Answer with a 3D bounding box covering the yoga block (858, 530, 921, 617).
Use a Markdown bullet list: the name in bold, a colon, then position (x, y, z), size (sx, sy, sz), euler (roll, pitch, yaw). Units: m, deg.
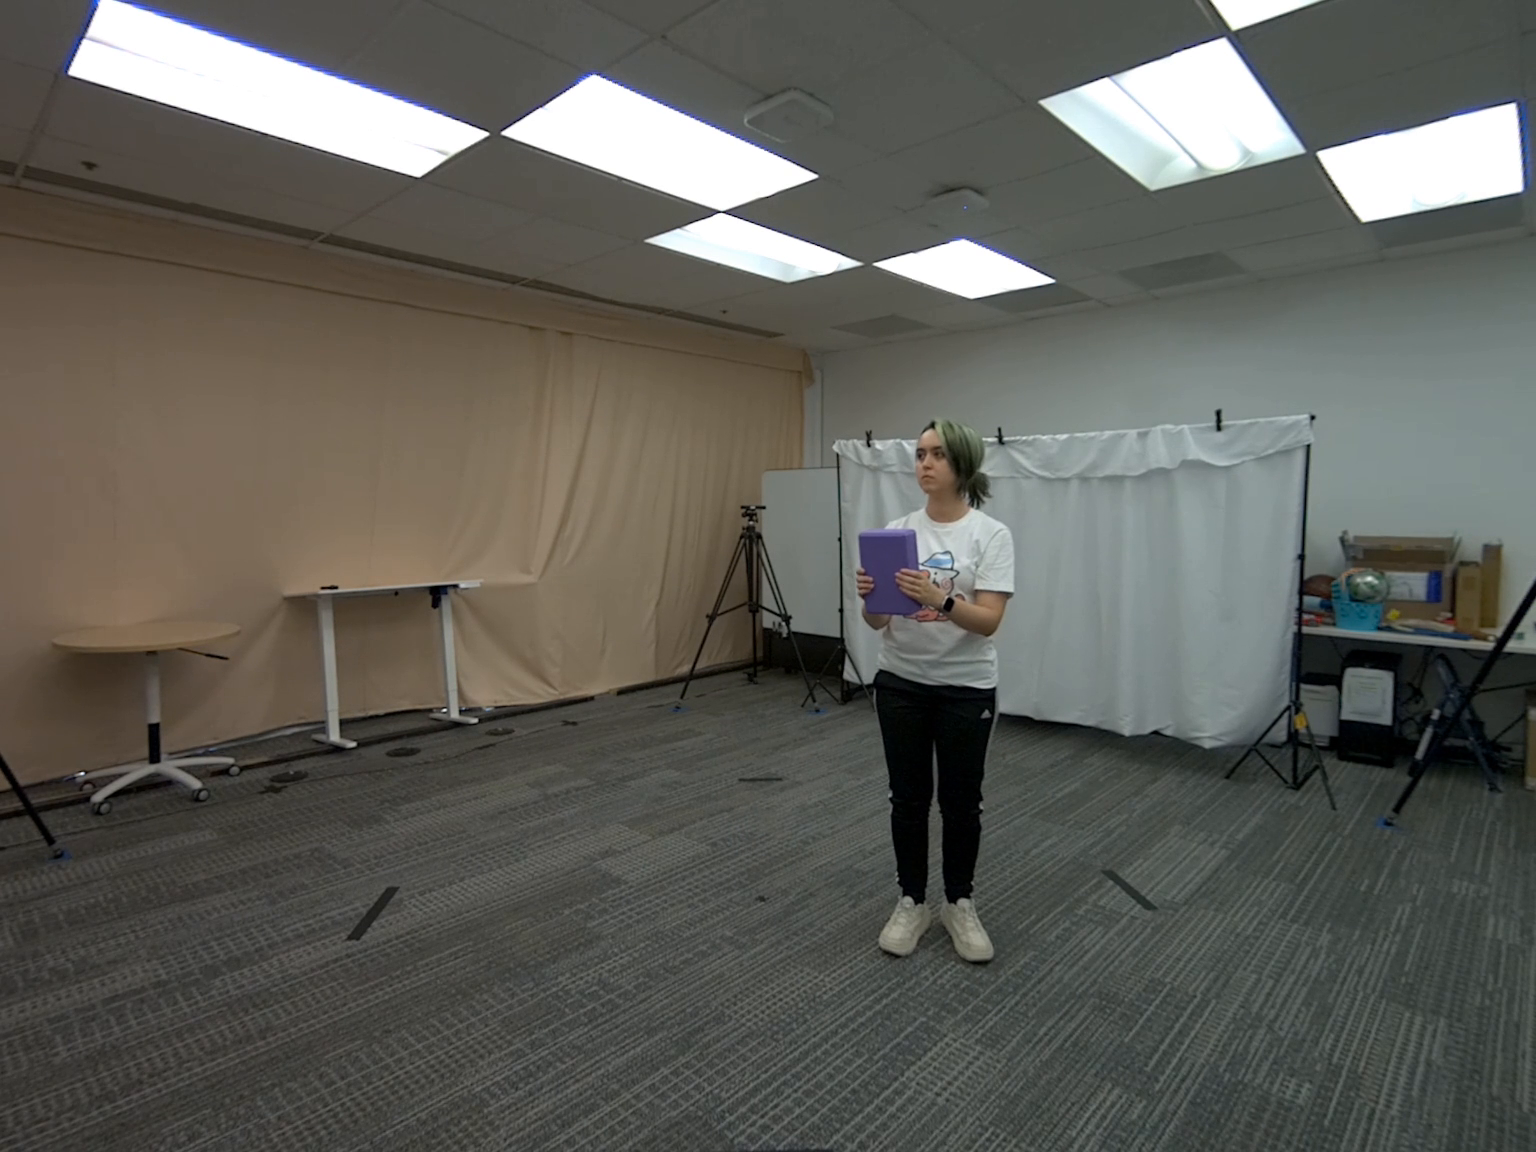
- **yoga block**: position (0.347, -0.010, 2.325), size (0.154, 0.228, 0.074), euler (1, 11, 36)
